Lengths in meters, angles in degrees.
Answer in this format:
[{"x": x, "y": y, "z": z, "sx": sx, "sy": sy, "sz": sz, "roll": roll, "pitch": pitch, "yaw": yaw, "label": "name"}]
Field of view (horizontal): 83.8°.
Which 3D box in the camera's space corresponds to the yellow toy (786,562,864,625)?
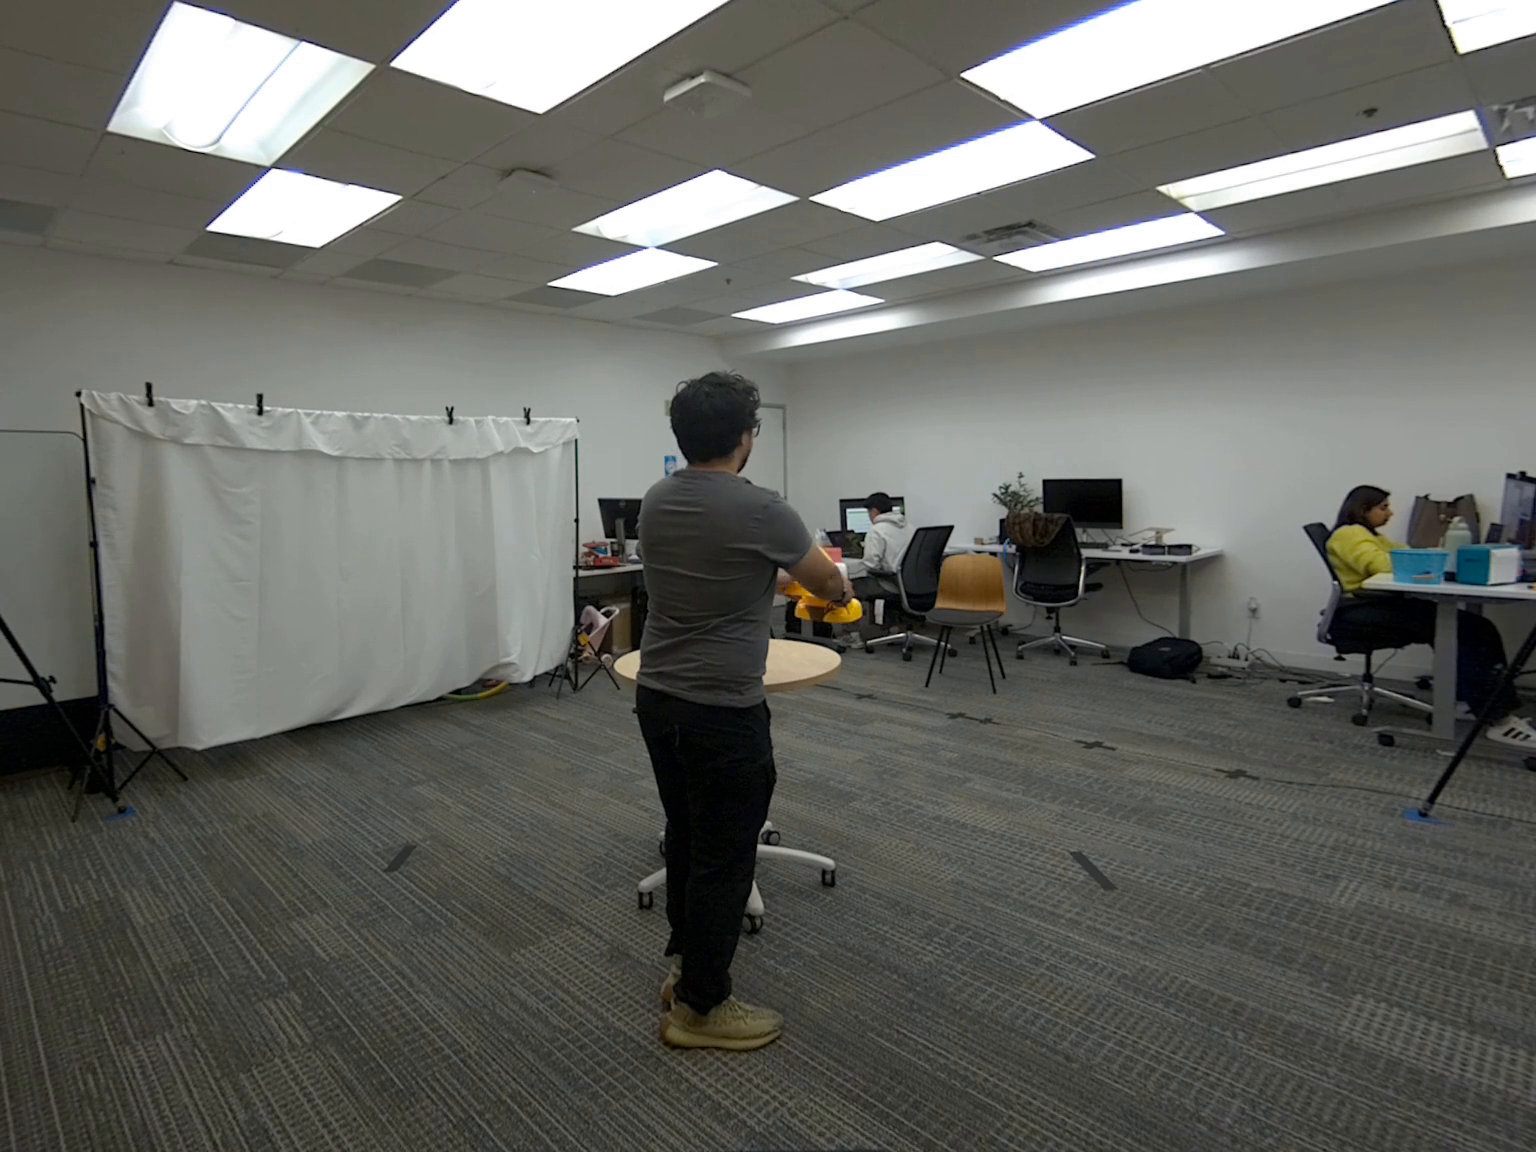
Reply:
[{"x": 0.188, "y": 0.010, "z": 2.611, "sx": 0.211, "sy": 0.229, "sz": 0.189, "roll": 5, "pitch": 11, "yaw": 34, "label": "yellow toy"}]
